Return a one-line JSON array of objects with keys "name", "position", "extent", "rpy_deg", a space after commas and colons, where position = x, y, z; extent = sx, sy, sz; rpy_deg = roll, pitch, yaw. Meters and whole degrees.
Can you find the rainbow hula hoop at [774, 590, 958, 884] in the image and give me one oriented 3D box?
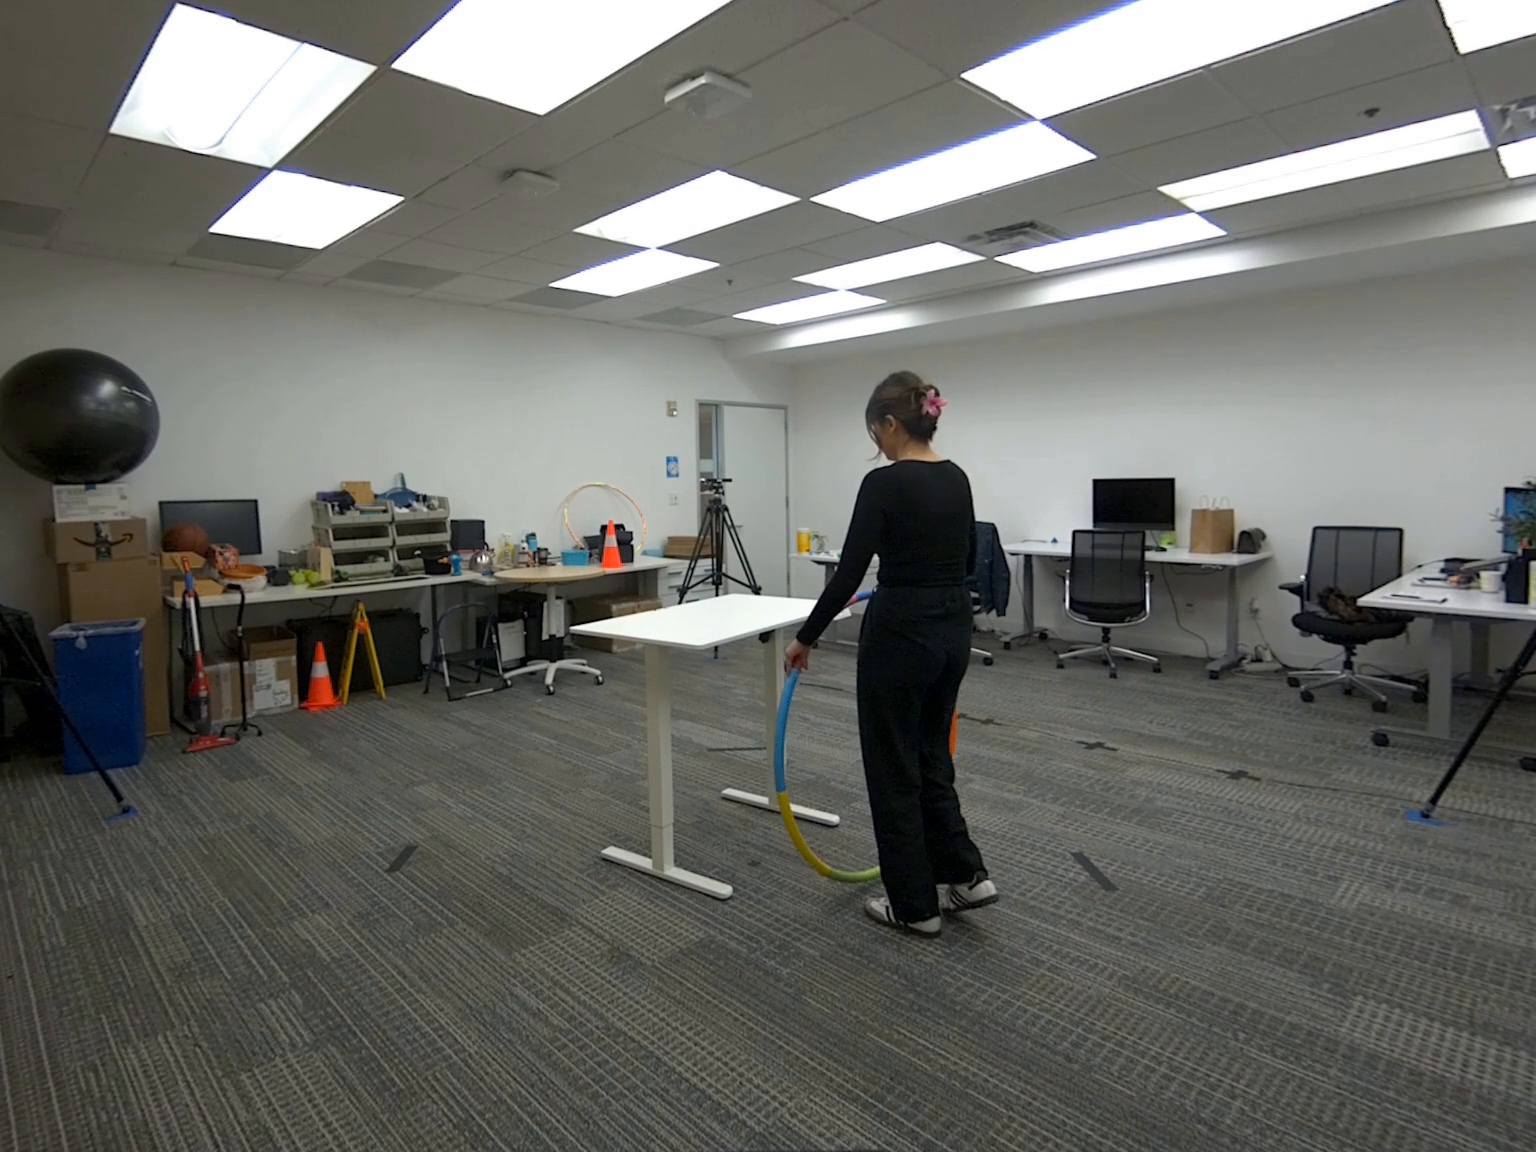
[{"name": "rainbow hula hoop", "position": [0.376, 0.538, 2.940], "extent": [0.953, 0.978, 0.036], "rpy_deg": [-5, 2, -43]}]
